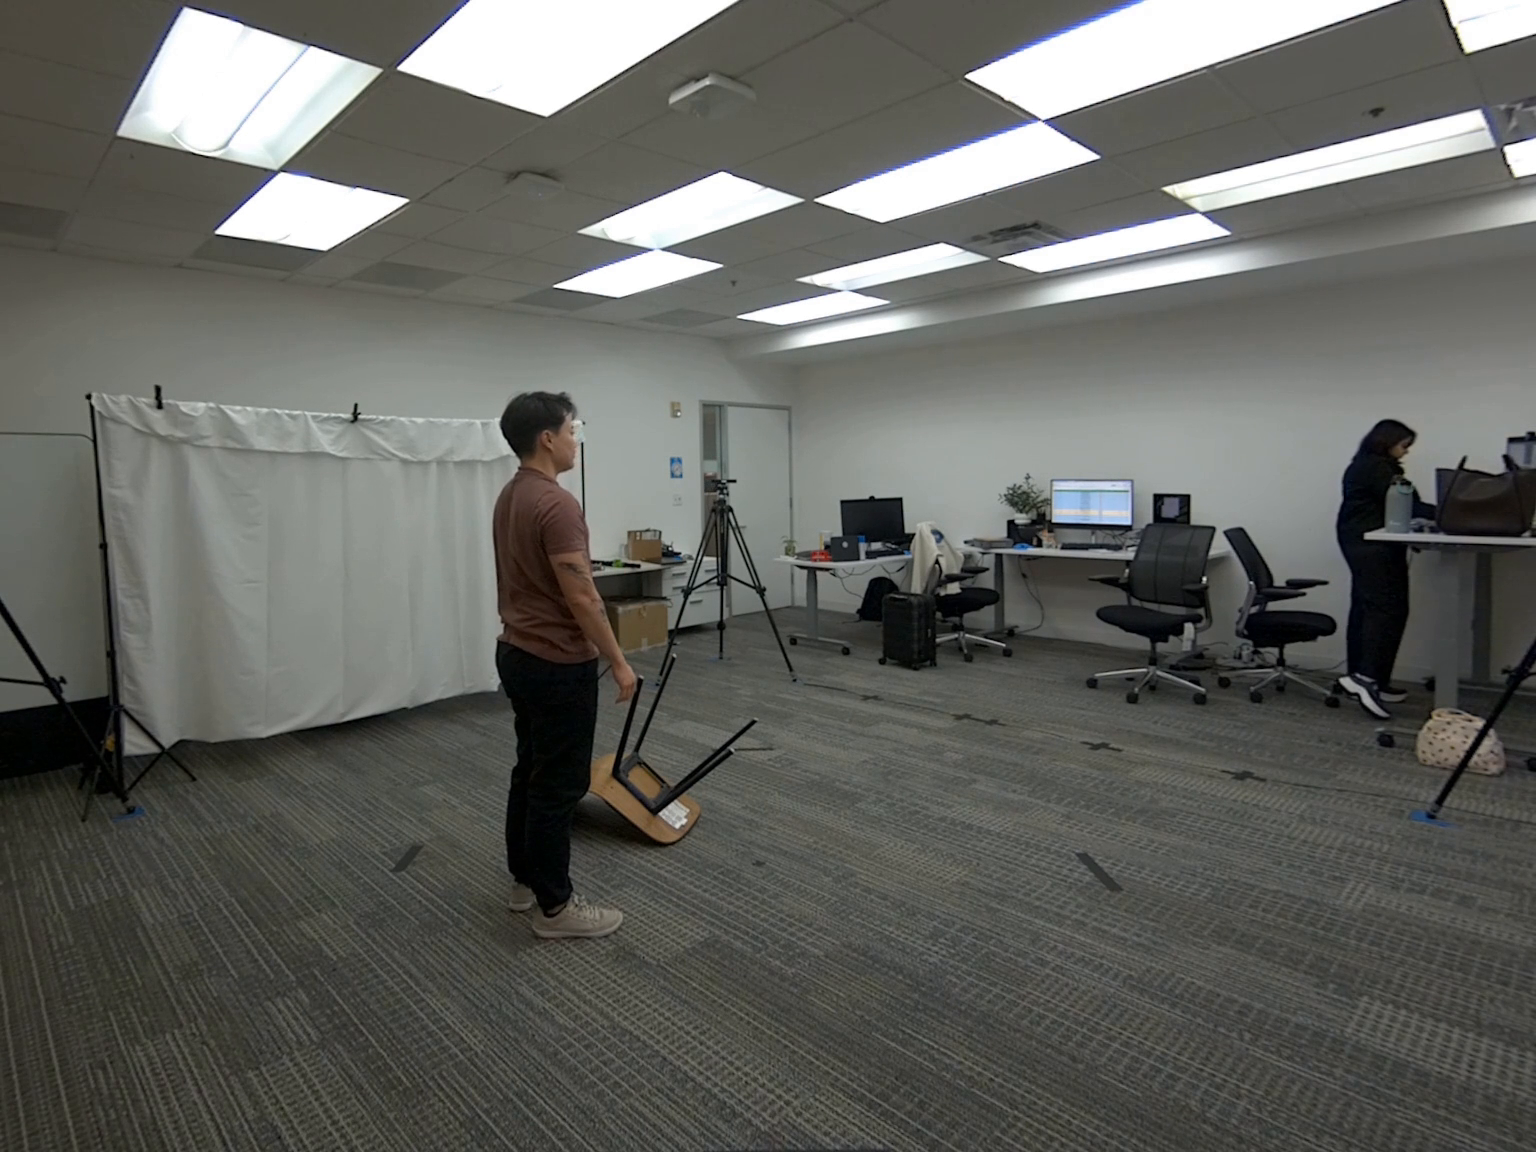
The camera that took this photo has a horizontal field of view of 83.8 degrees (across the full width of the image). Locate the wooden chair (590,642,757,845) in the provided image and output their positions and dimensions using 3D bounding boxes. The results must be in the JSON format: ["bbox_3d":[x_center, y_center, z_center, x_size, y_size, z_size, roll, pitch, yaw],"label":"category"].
[{"bbox_3d":[-0.501,0.845,3.487,0.529,0.876,0.474,40,11,7],"label":"wooden chair"}]
